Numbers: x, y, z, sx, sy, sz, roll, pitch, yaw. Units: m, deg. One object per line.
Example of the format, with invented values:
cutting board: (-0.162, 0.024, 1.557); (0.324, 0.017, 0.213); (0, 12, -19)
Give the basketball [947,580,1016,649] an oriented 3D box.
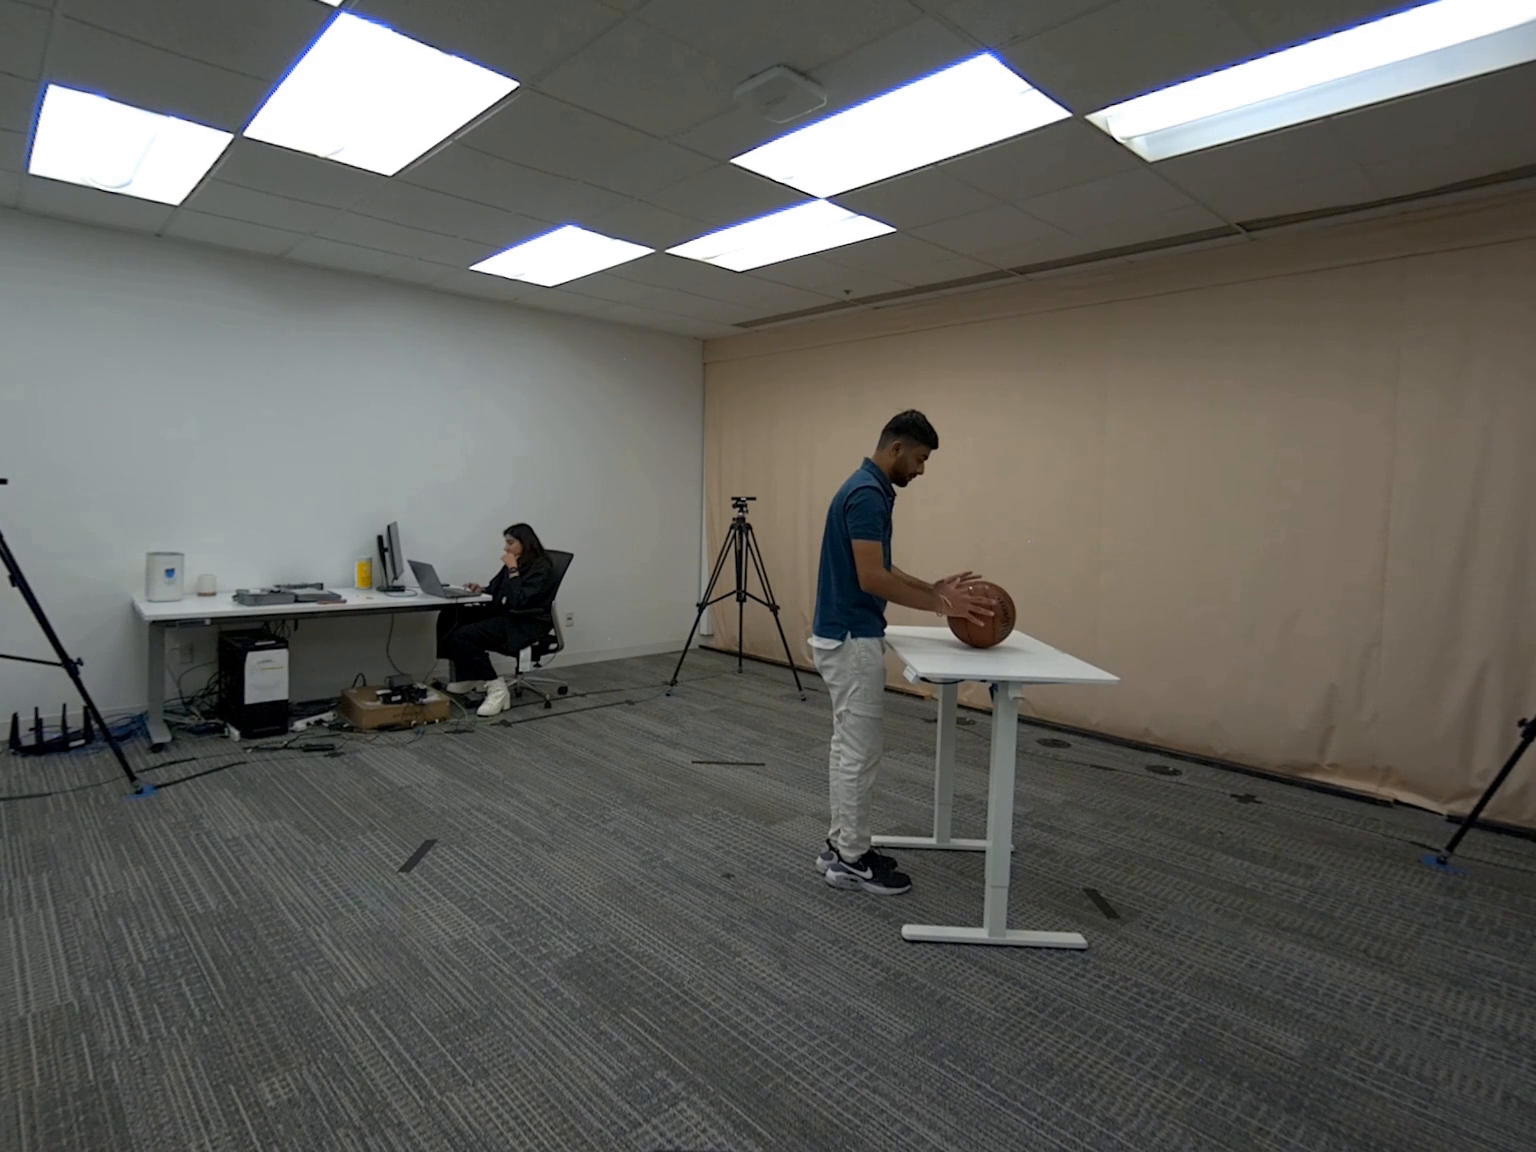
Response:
basketball: (0.757, 0.137, 3.021); (0.236, 0.235, 0.237); (1, 4, -1)
